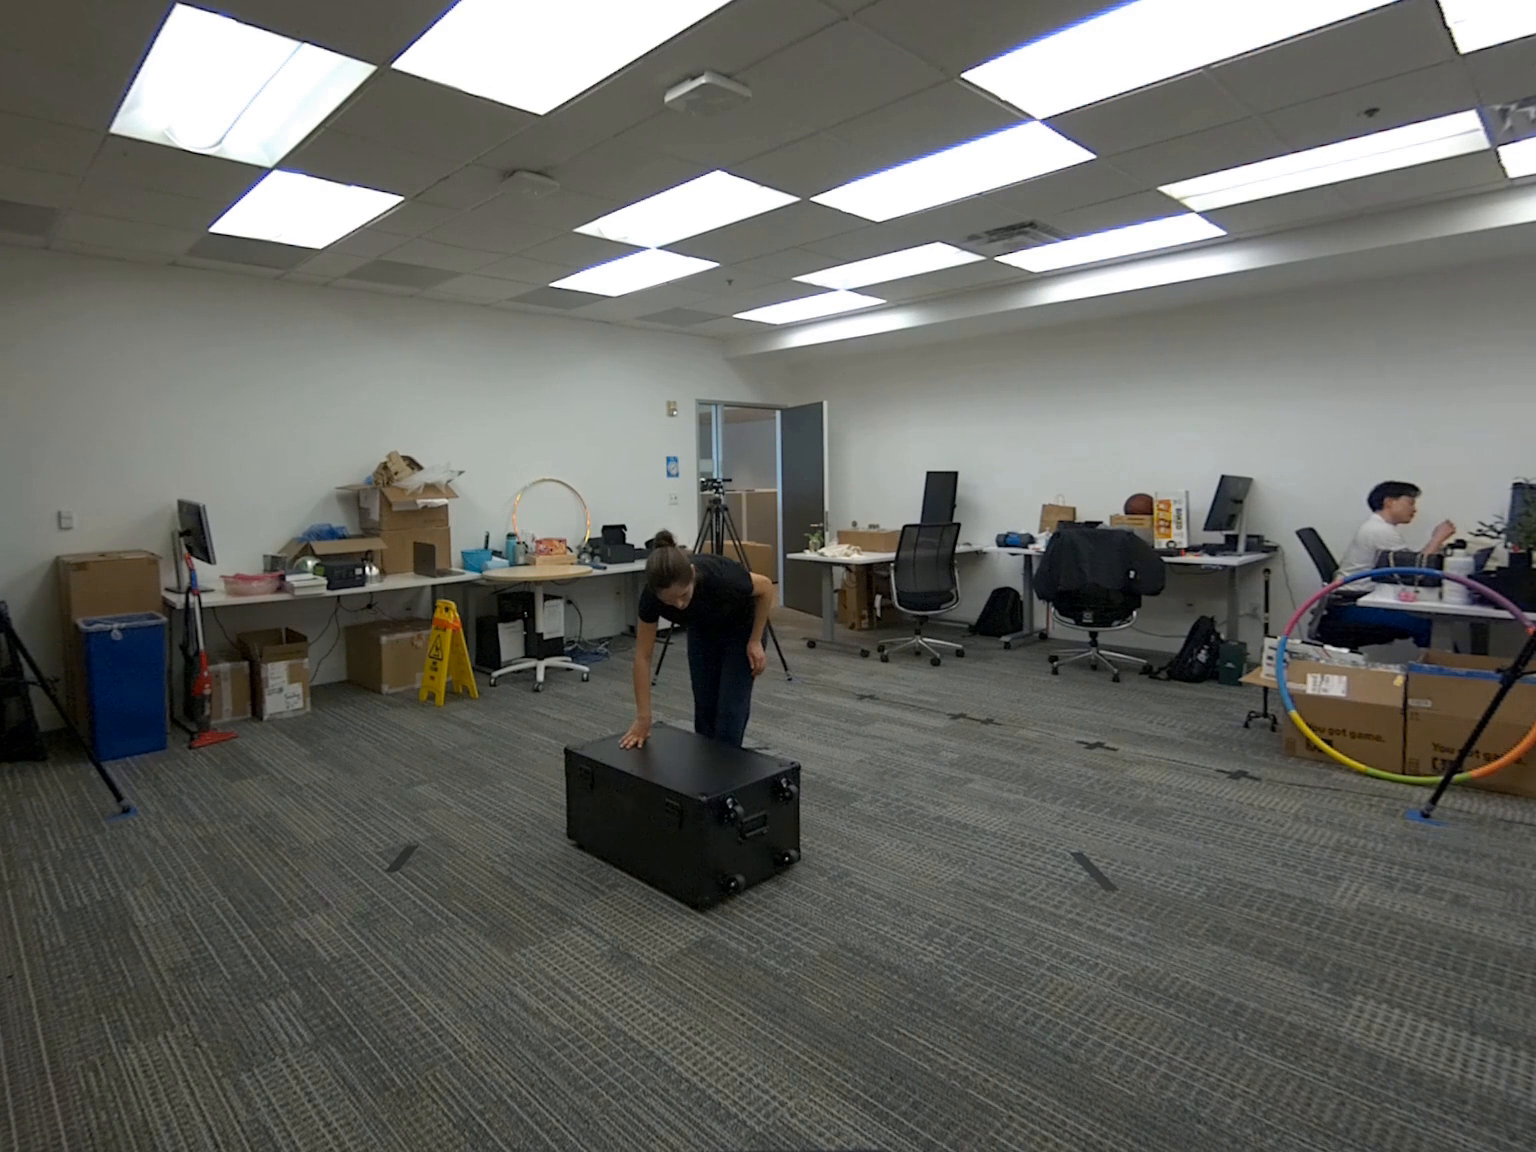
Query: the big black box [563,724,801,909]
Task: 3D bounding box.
[{"bbox_3d":[-0.306,0.836,3.163,0.888,0.394,0.507,5,8,44],"label":"big black box"}]
